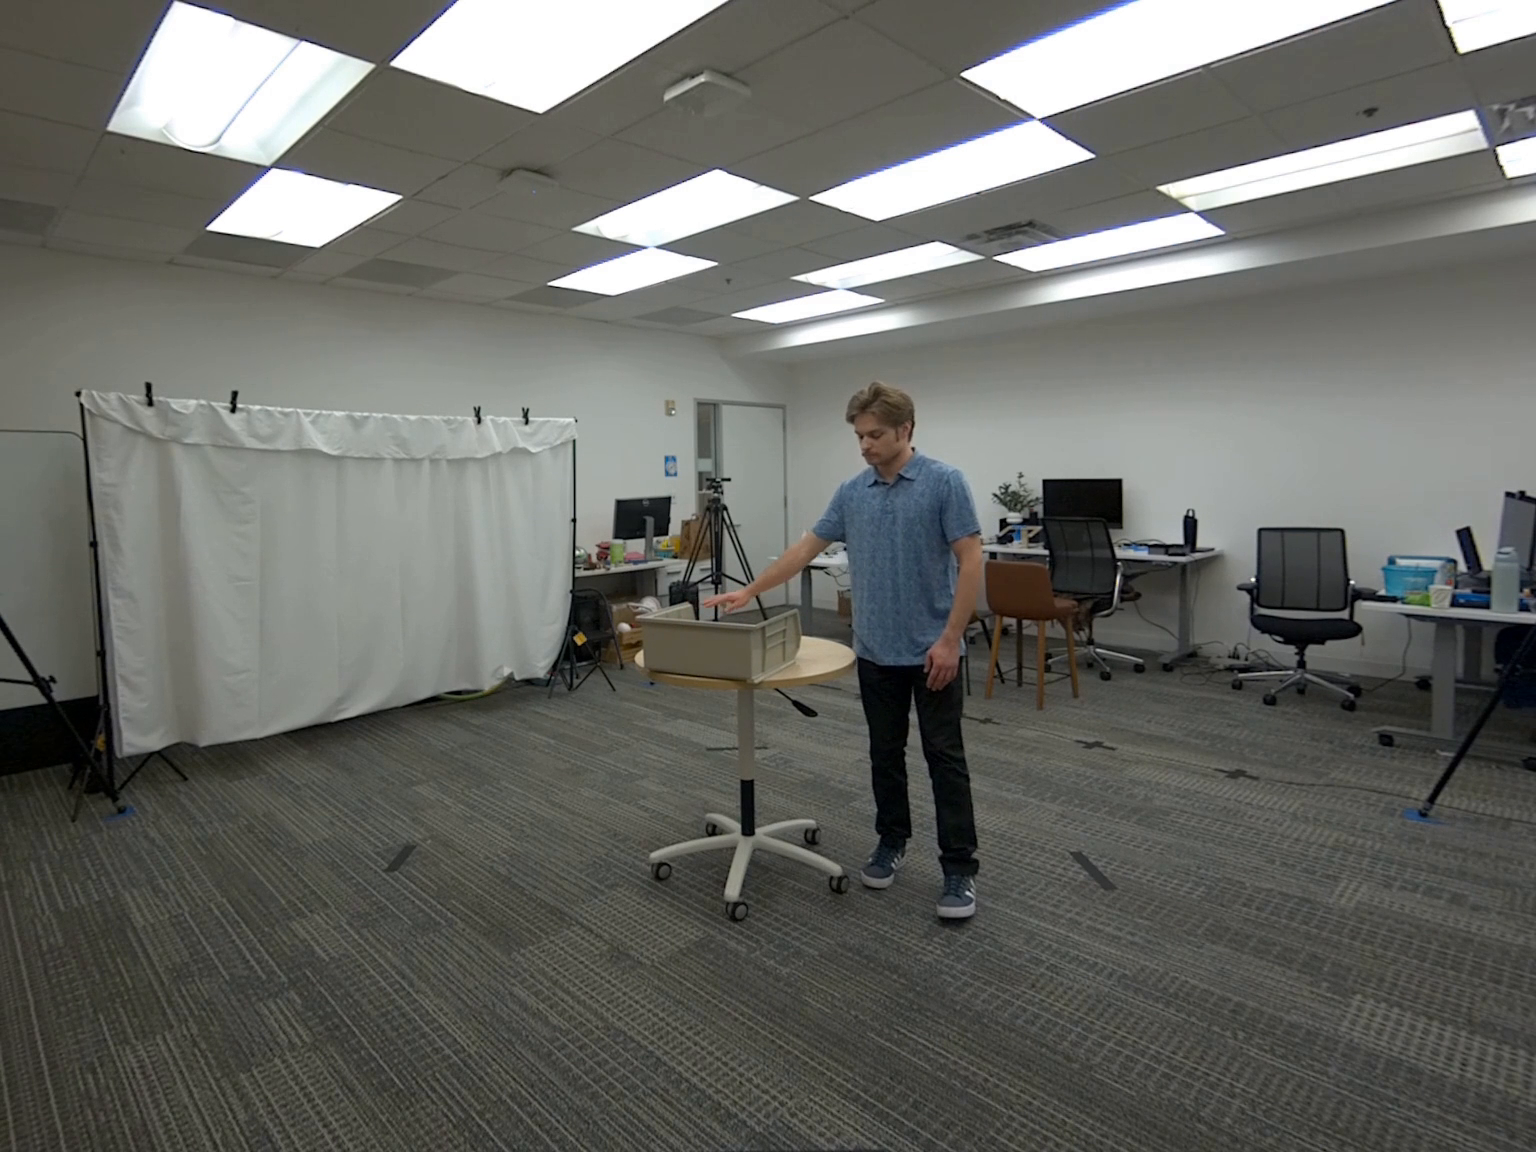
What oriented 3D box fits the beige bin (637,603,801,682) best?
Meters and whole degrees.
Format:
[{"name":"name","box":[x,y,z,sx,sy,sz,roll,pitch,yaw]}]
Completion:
[{"name":"beige bin","box":[-0.152,0.206,2.804,0.433,0.188,0.370,3,8,26]}]
